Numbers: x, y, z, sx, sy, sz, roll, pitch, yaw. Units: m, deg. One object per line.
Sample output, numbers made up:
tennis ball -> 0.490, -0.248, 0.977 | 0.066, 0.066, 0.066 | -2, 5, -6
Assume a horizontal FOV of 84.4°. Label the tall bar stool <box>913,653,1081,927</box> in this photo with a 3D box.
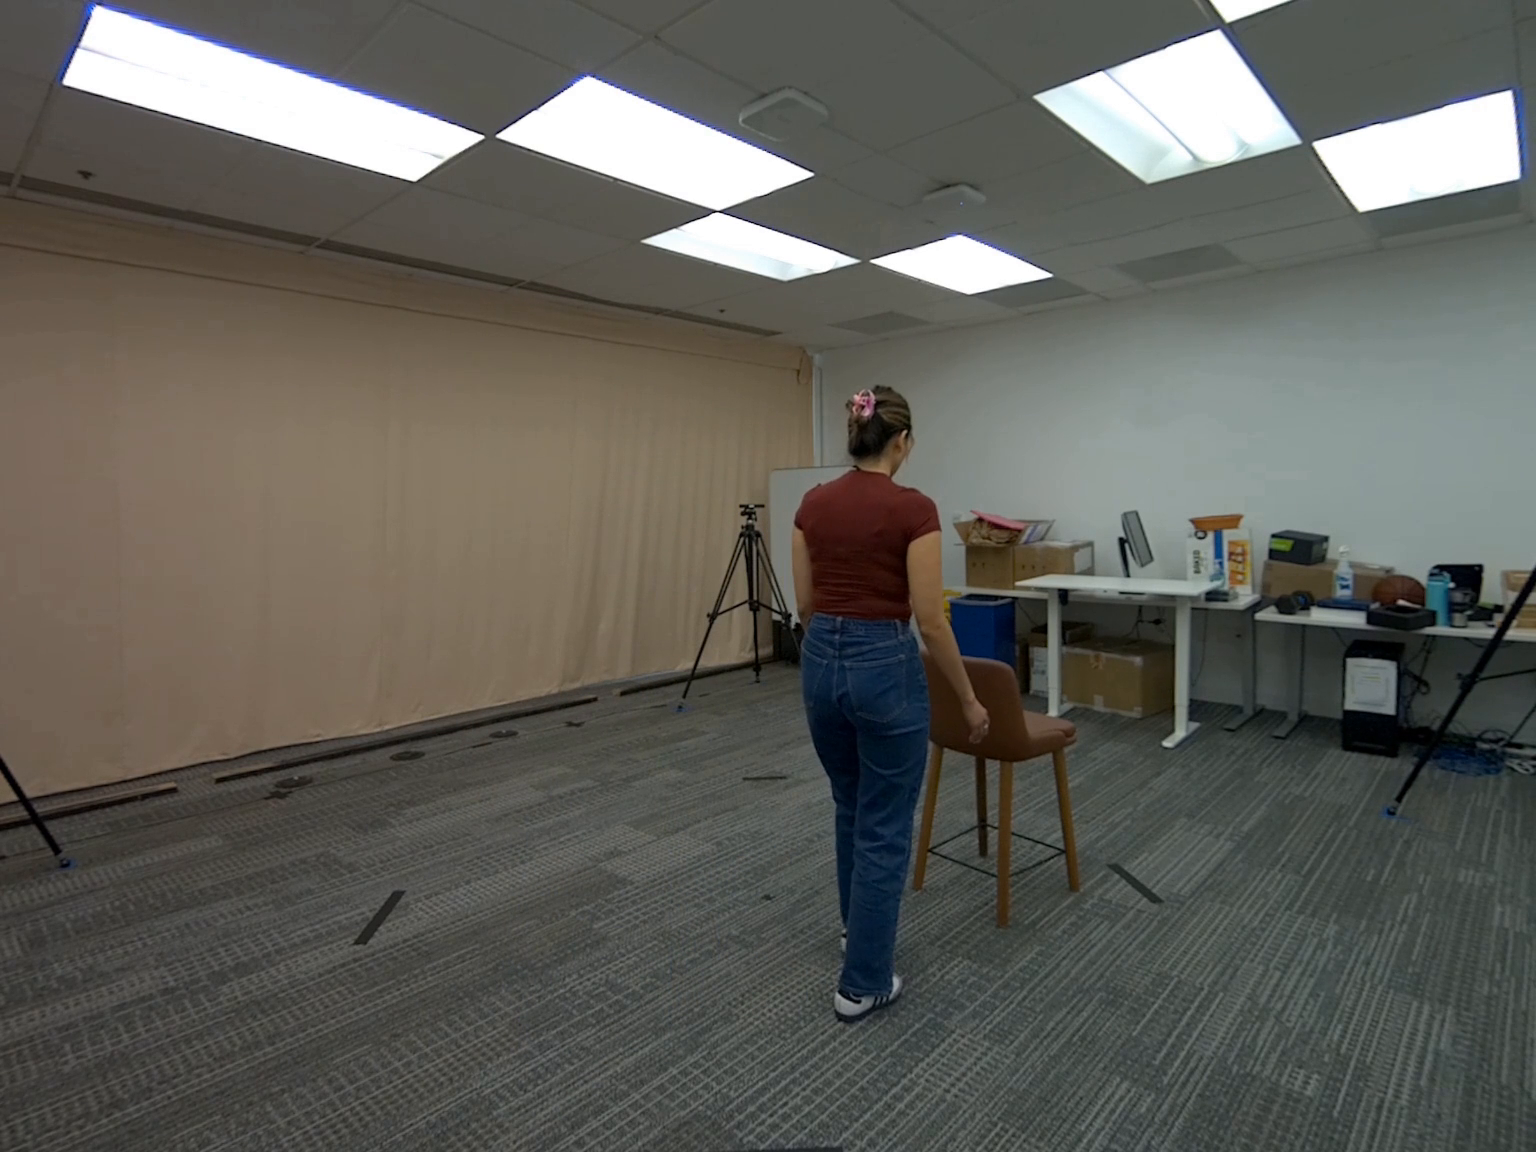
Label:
tall bar stool -> 0.803, 0.688, 2.994 | 0.454, 0.887, 0.471 | -6, 6, -40
